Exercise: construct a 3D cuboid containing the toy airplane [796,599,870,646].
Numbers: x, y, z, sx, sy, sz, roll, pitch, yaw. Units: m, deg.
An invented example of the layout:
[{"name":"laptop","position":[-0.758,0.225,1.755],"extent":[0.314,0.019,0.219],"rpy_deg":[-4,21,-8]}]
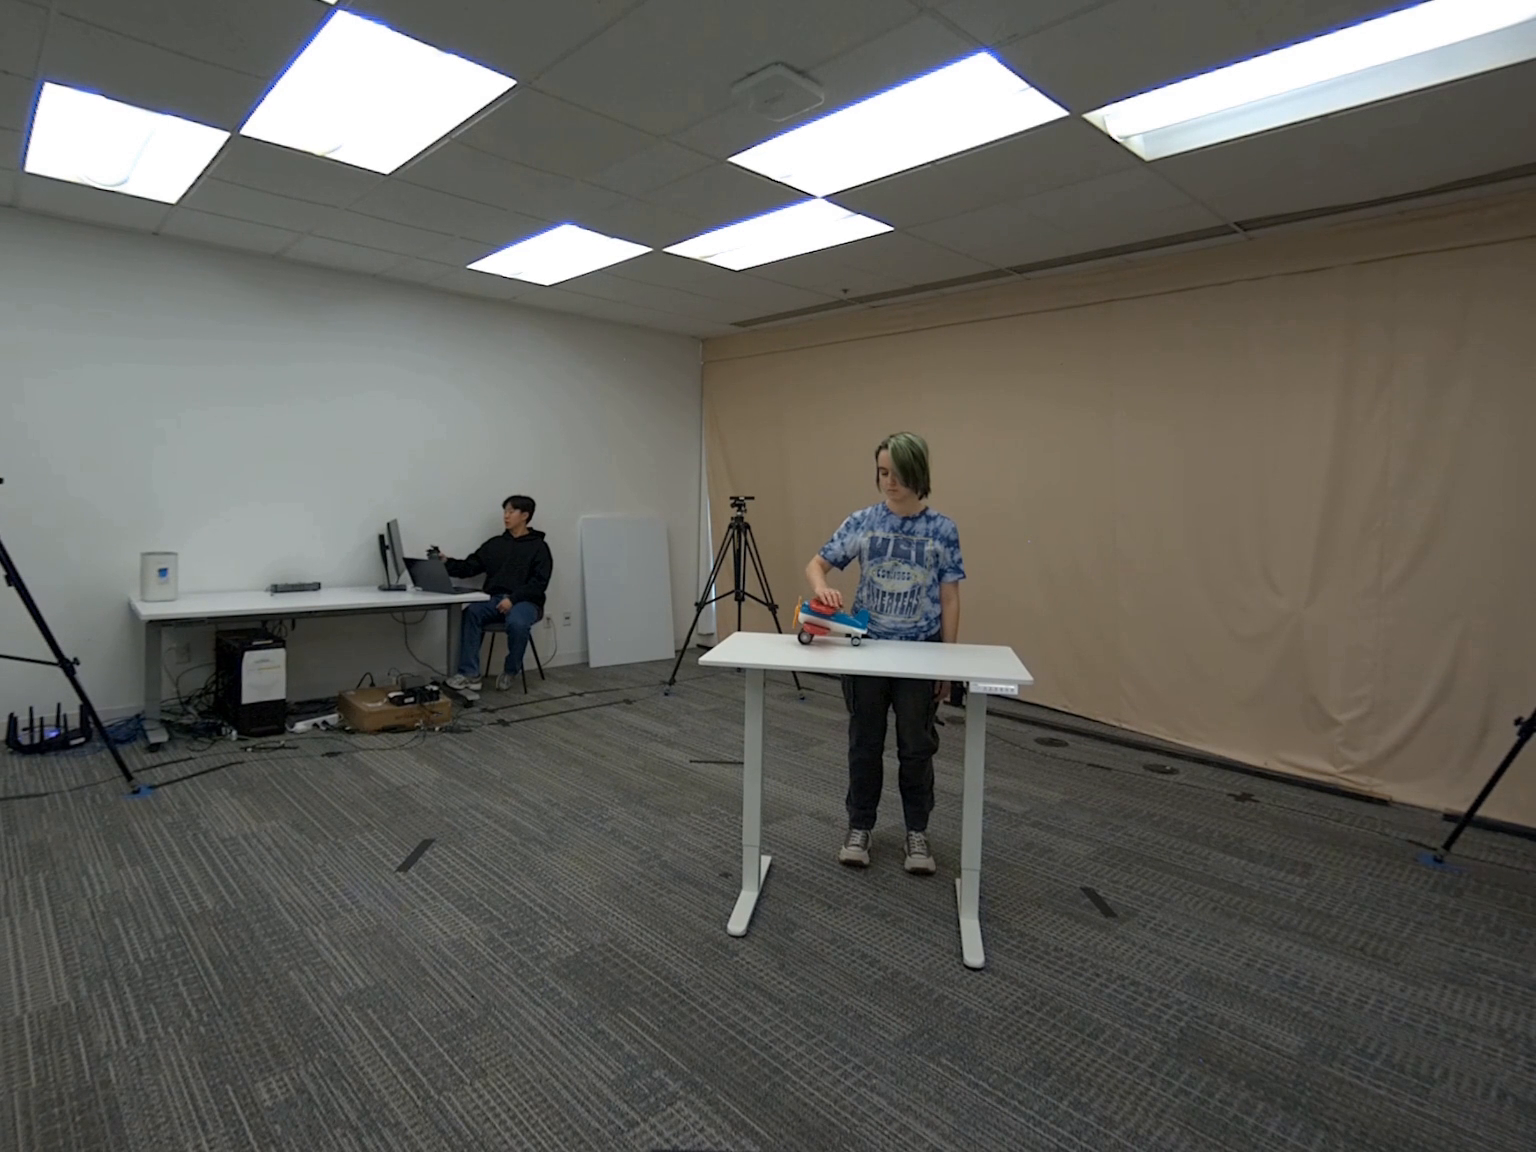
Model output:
[{"name":"toy airplane","position":[0.216,0.166,3.004],"extent":[0.255,0.156,0.256],"rpy_deg":[-1,4,-22]}]
